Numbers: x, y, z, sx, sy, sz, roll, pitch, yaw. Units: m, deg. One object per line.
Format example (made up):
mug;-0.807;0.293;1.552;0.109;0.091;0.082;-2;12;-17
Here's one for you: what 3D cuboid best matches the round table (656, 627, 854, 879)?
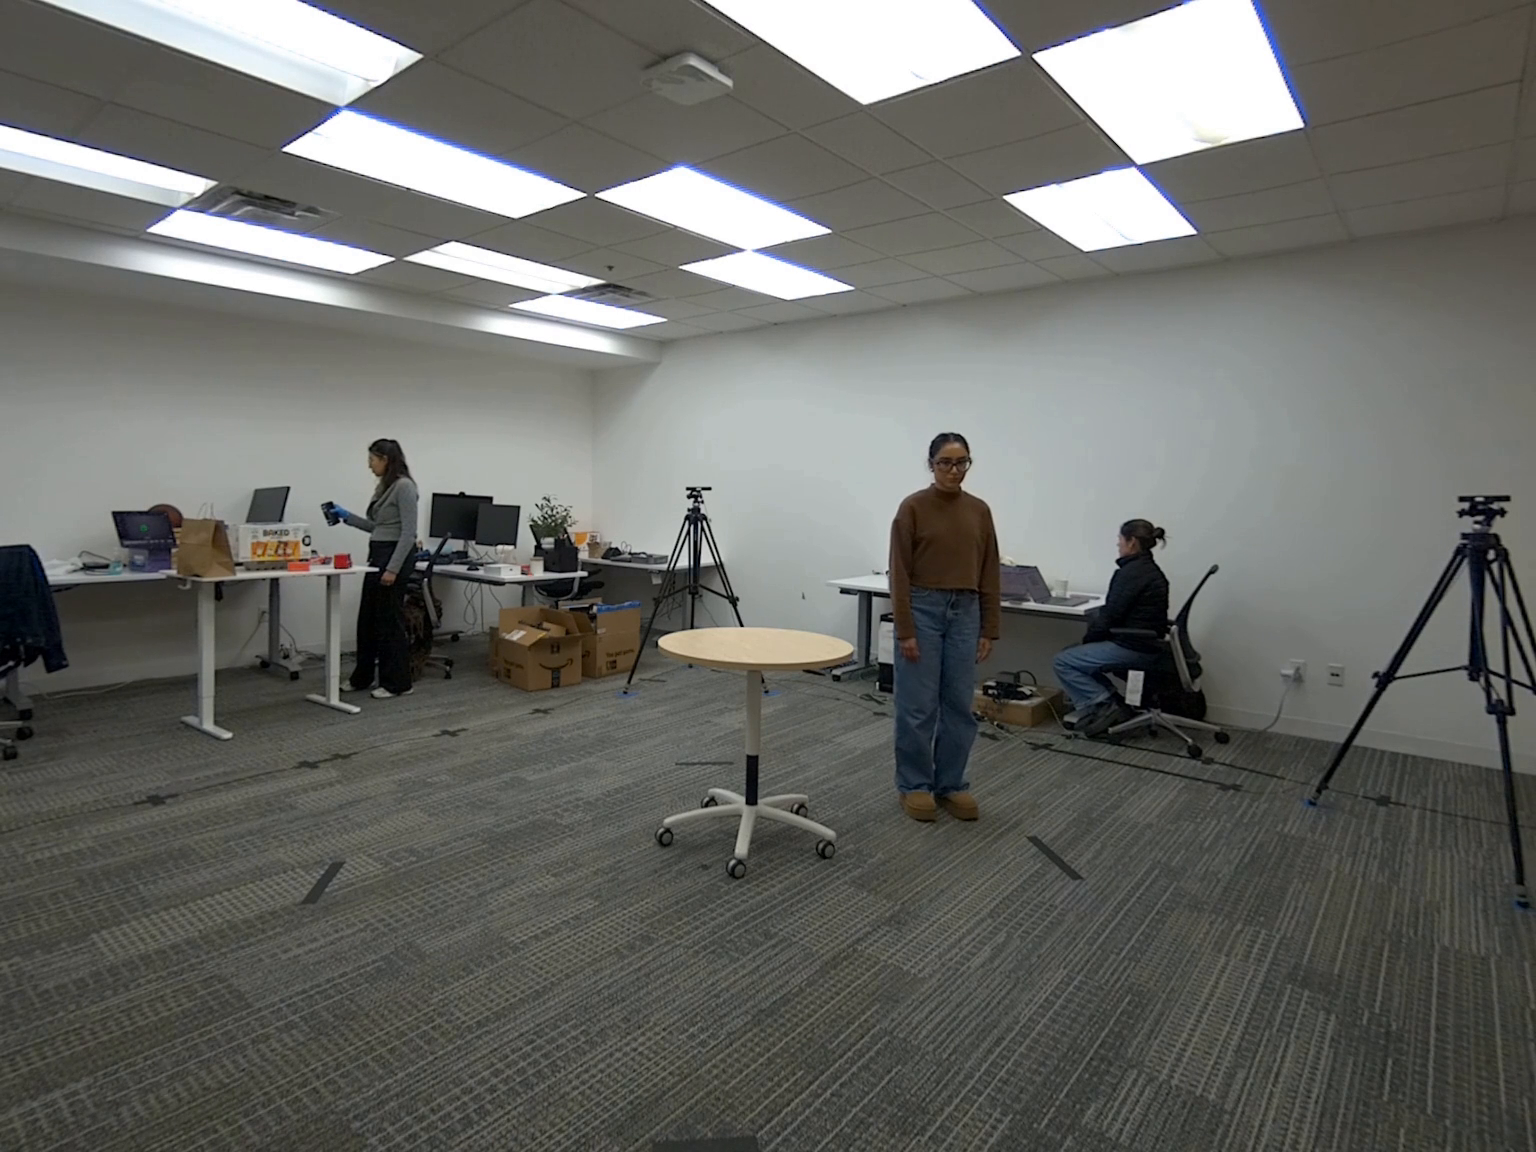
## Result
round table;-0.070;0.656;3.367;0.763;0.792;0.768;1;4;-2
